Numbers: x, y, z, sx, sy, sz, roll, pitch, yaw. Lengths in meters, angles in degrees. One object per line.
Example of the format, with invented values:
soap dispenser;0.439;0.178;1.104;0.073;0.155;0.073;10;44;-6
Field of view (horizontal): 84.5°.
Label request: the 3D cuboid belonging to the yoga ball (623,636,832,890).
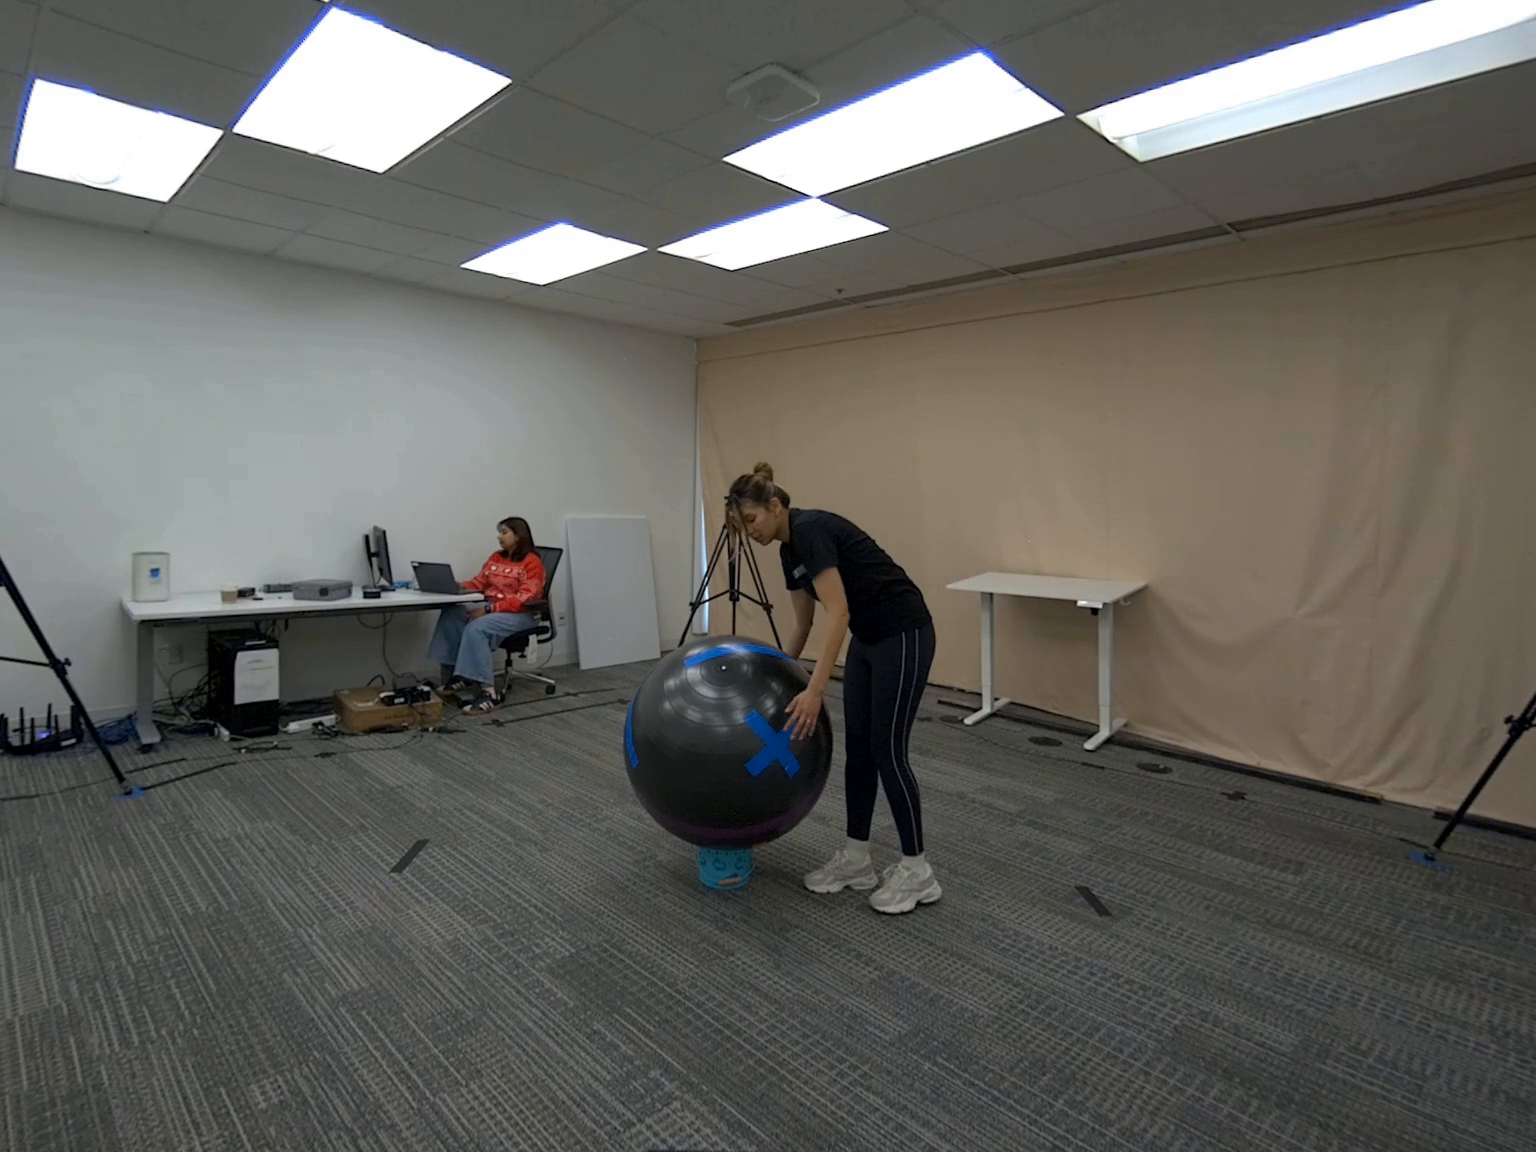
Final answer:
yoga ball;-0.153;0.601;3.048;0.757;0.756;0.761;1;4;-1
